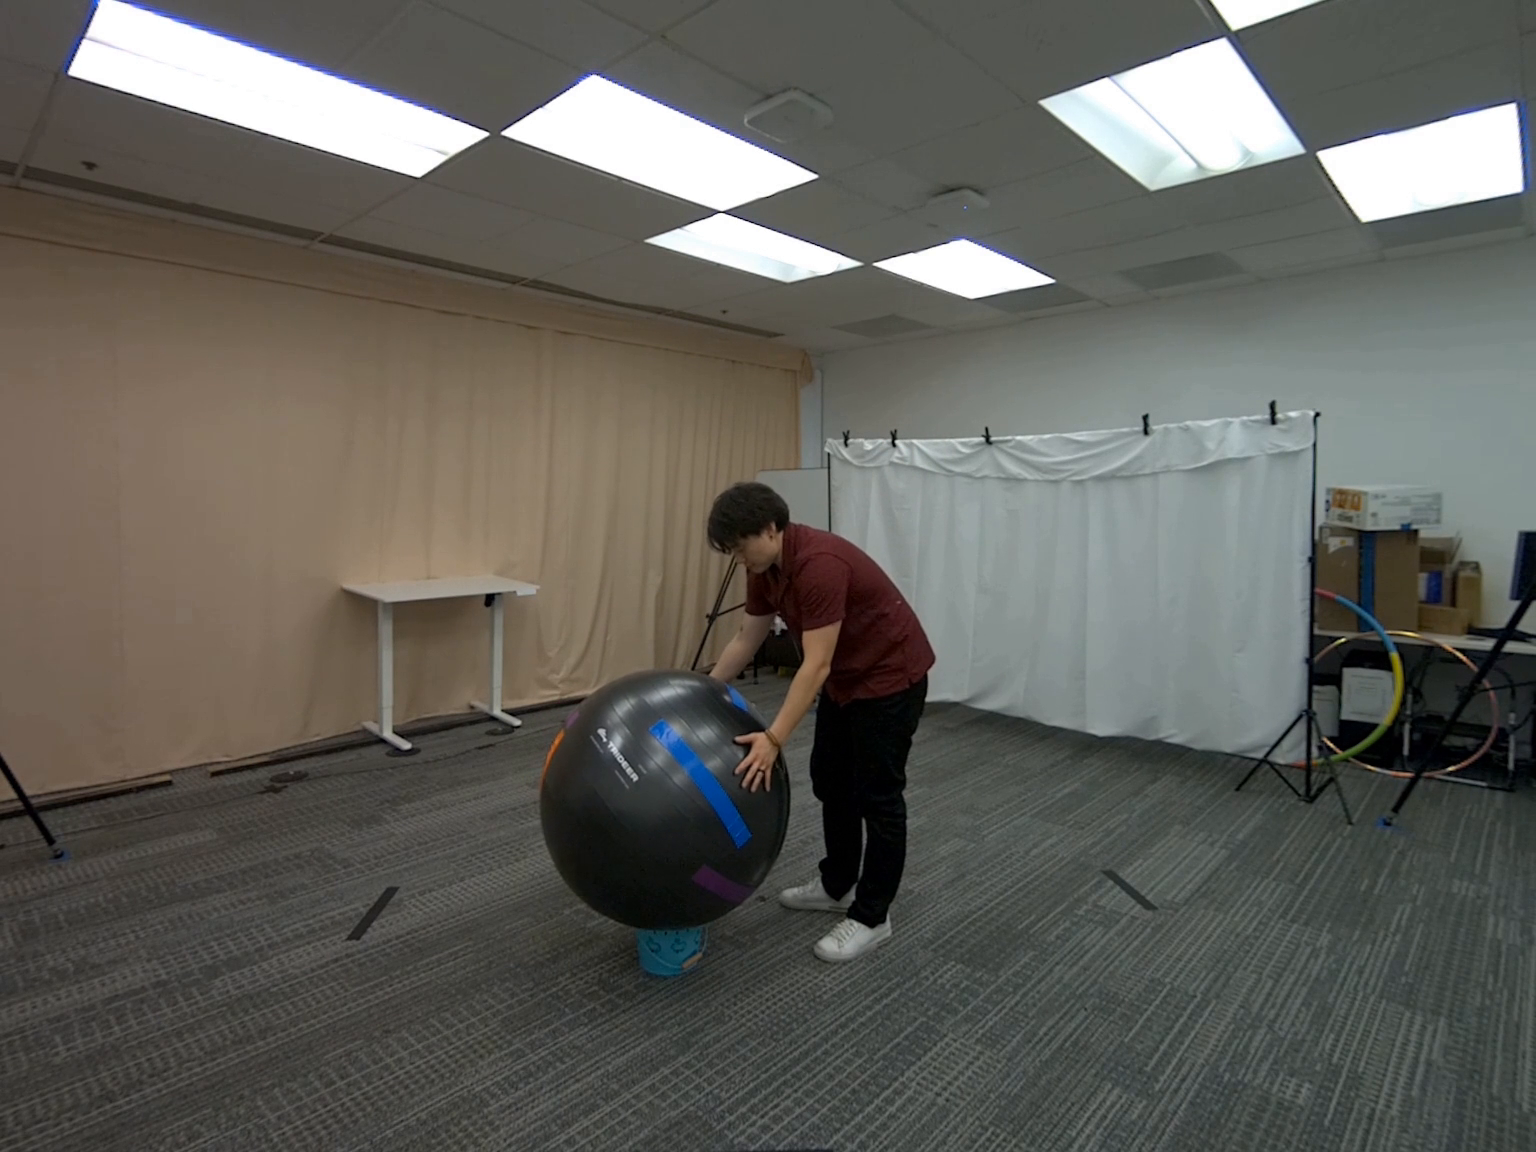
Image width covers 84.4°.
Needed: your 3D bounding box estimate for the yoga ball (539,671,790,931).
[{"bbox_3d":[-0.312,0.676,2.565,0.757,0.756,0.760,0,4,-2],"label":"yoga ball"}]
